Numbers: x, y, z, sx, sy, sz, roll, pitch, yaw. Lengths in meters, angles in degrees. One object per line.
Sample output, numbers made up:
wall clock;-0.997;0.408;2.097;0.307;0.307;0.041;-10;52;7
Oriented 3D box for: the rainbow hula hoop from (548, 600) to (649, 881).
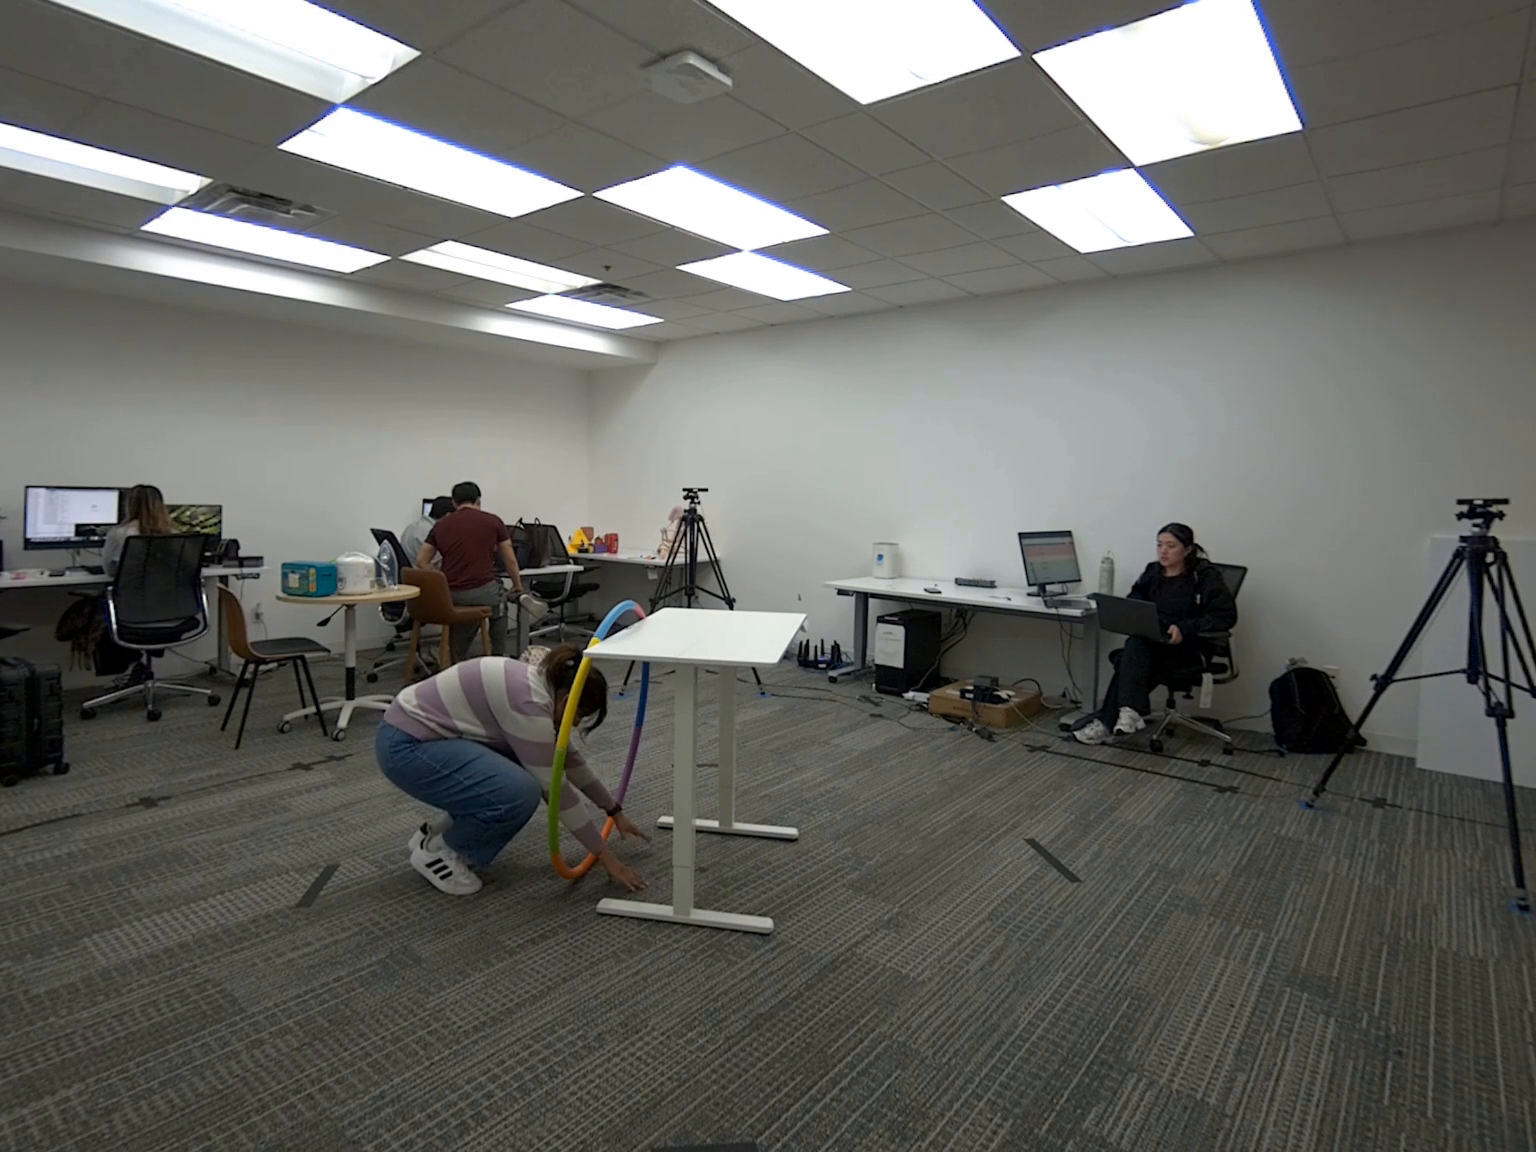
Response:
rainbow hula hoop;-0.602;0.582;3.091;0.036;0.975;0.972;9;5;7
